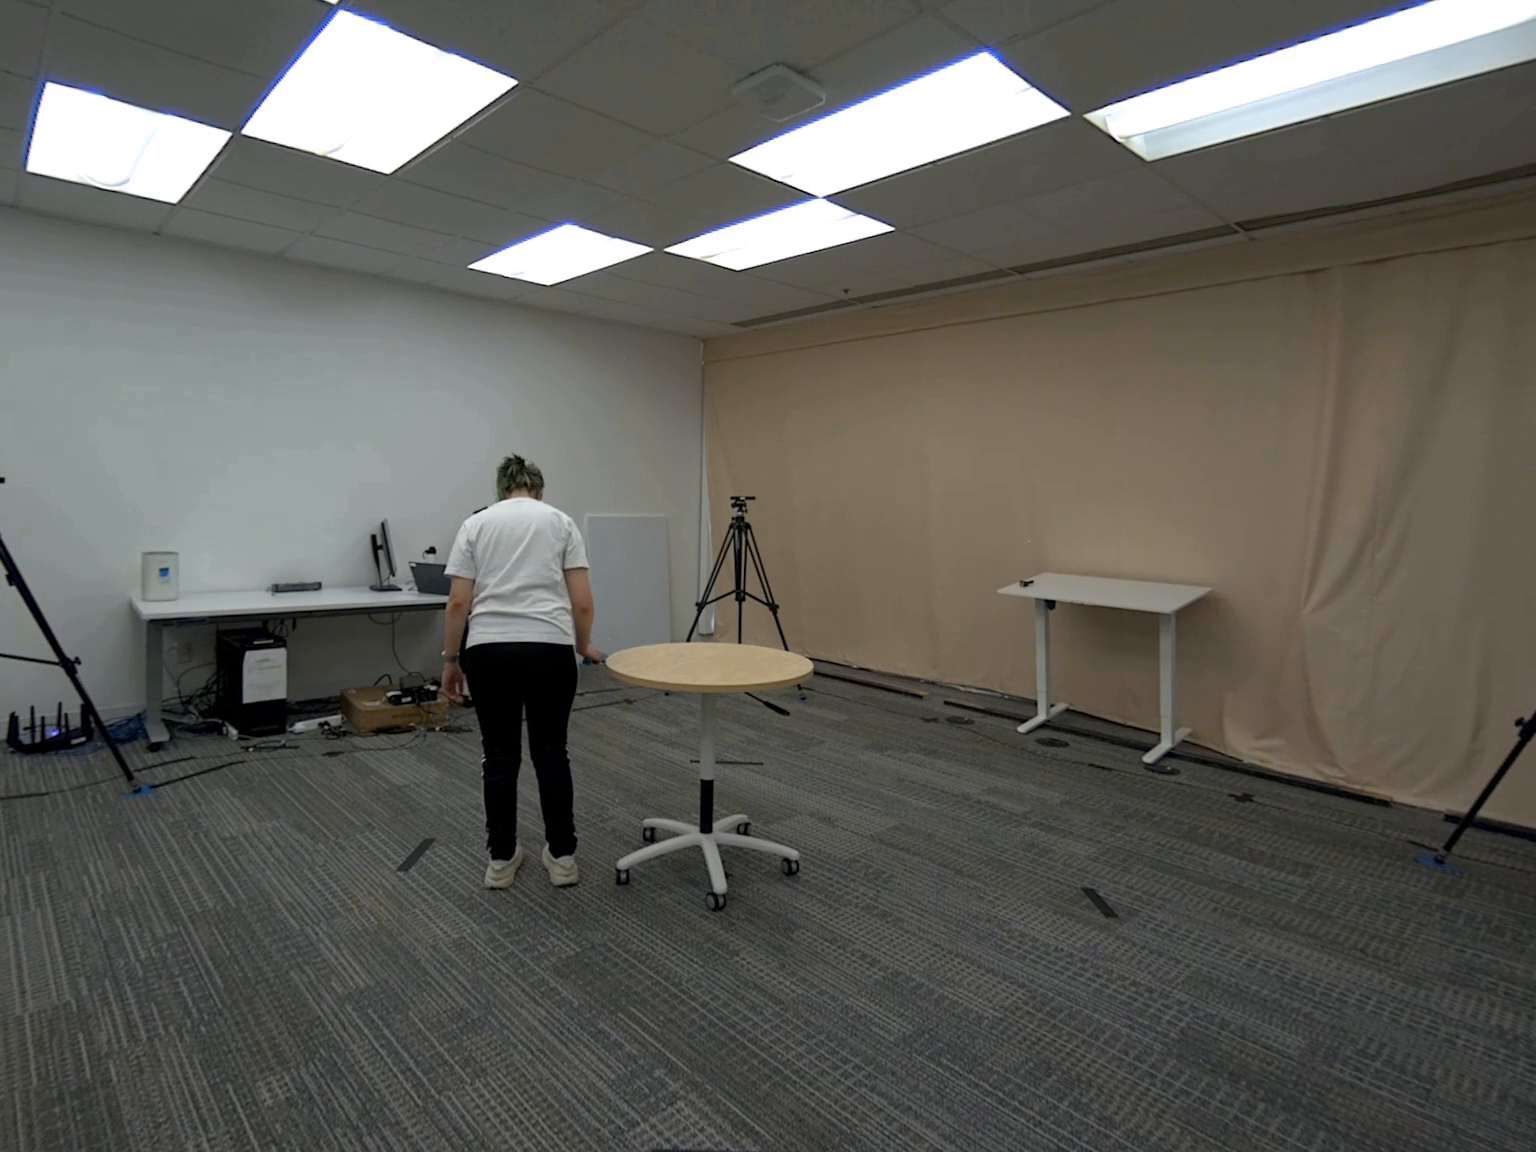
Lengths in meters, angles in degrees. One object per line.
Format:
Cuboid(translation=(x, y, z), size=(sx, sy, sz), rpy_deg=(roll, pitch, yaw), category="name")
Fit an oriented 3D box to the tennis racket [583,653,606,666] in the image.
Cuboid(translation=(-0.690, 0.333, 3.385), size=(0.213, 0.032, 0.434), rpy_deg=(14, -1, -5), category="tennis racket")
